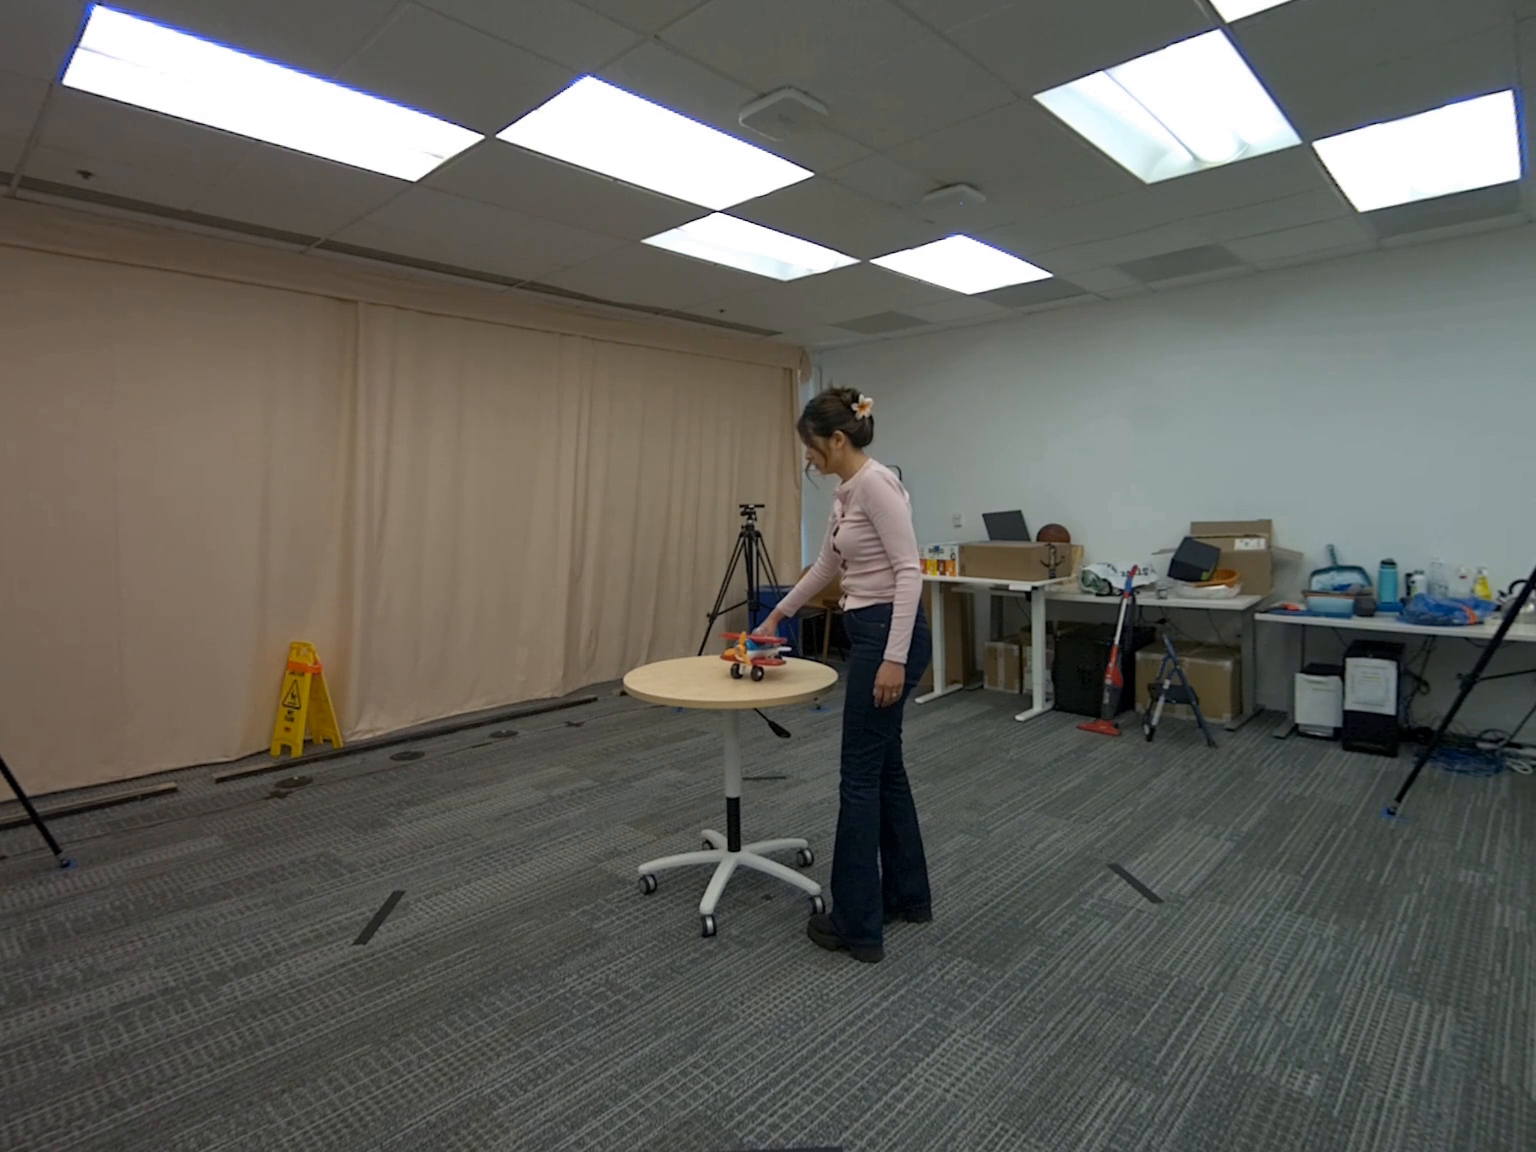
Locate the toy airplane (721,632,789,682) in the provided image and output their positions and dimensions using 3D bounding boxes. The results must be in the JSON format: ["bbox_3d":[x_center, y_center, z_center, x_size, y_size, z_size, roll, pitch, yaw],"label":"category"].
[{"bbox_3d":[-0.045,0.268,3.008,0.253,0.155,0.259,-5,12,7],"label":"toy airplane"}]
